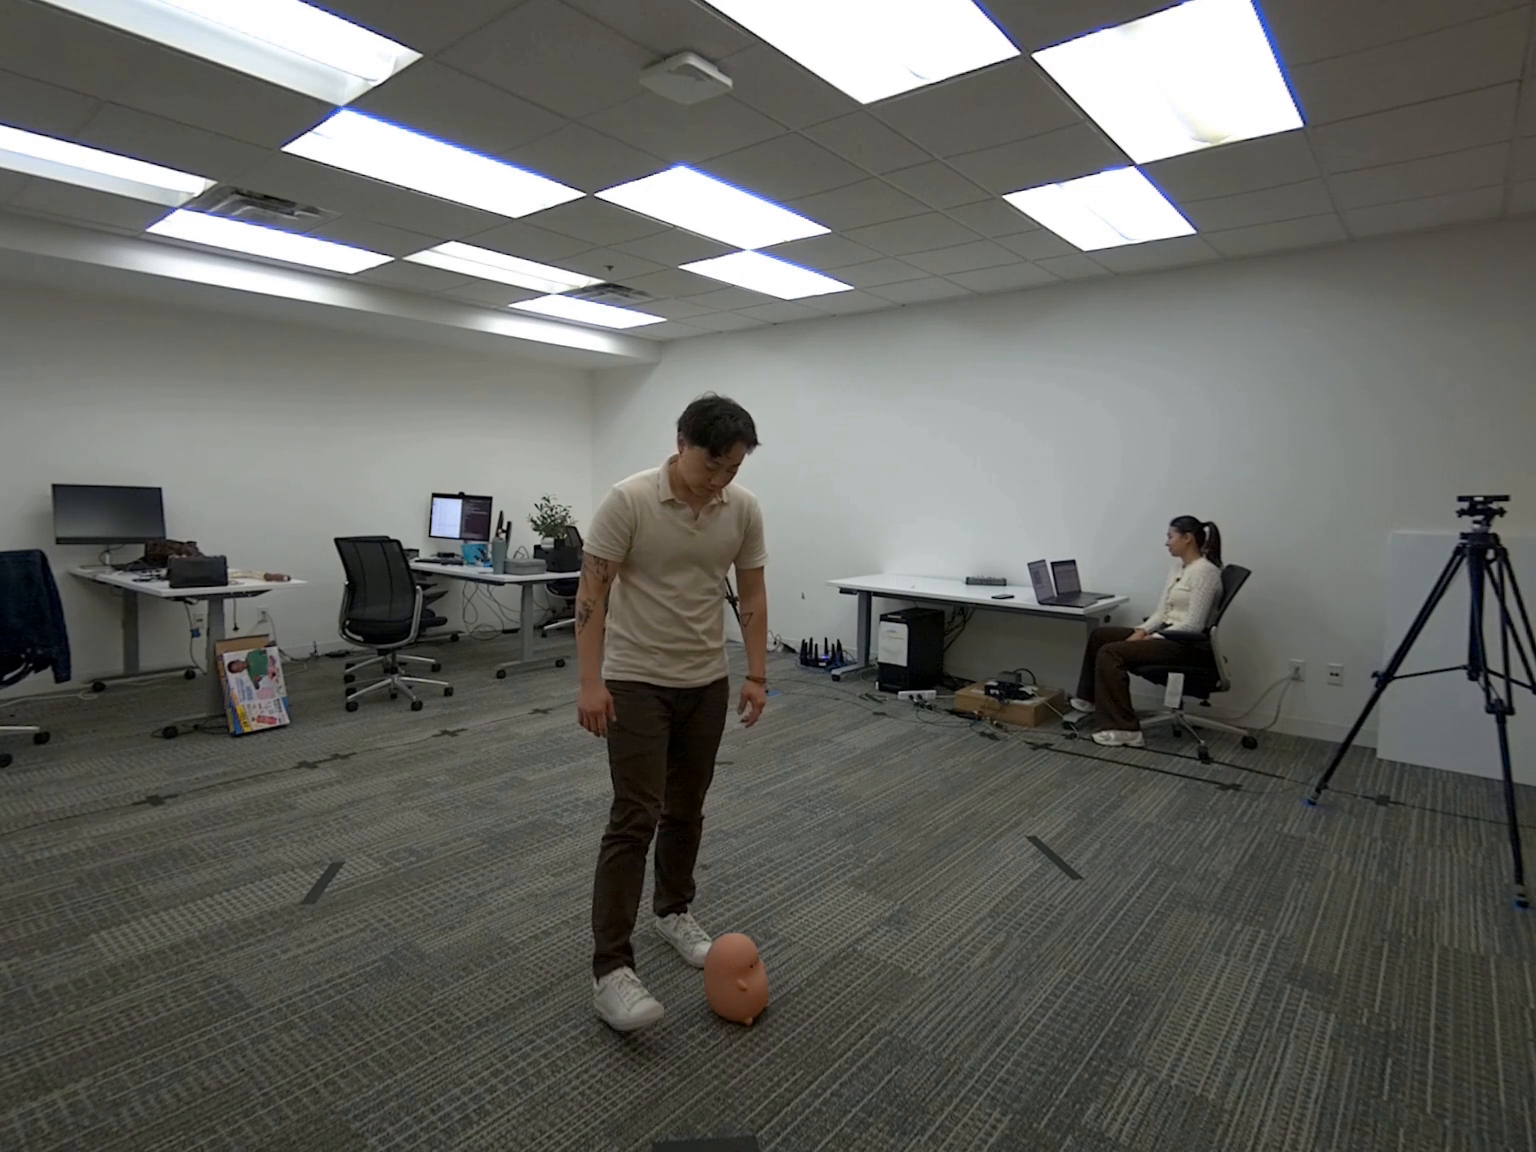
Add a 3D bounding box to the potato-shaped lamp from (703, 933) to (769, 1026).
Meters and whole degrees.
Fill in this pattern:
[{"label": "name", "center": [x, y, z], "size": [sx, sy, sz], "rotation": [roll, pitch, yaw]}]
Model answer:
[{"label": "potato-shaped lamp", "center": [-0.090, 1.056, 2.260], "size": [0.176, 0.197, 0.160], "rotation": [3, 5, 30]}]
